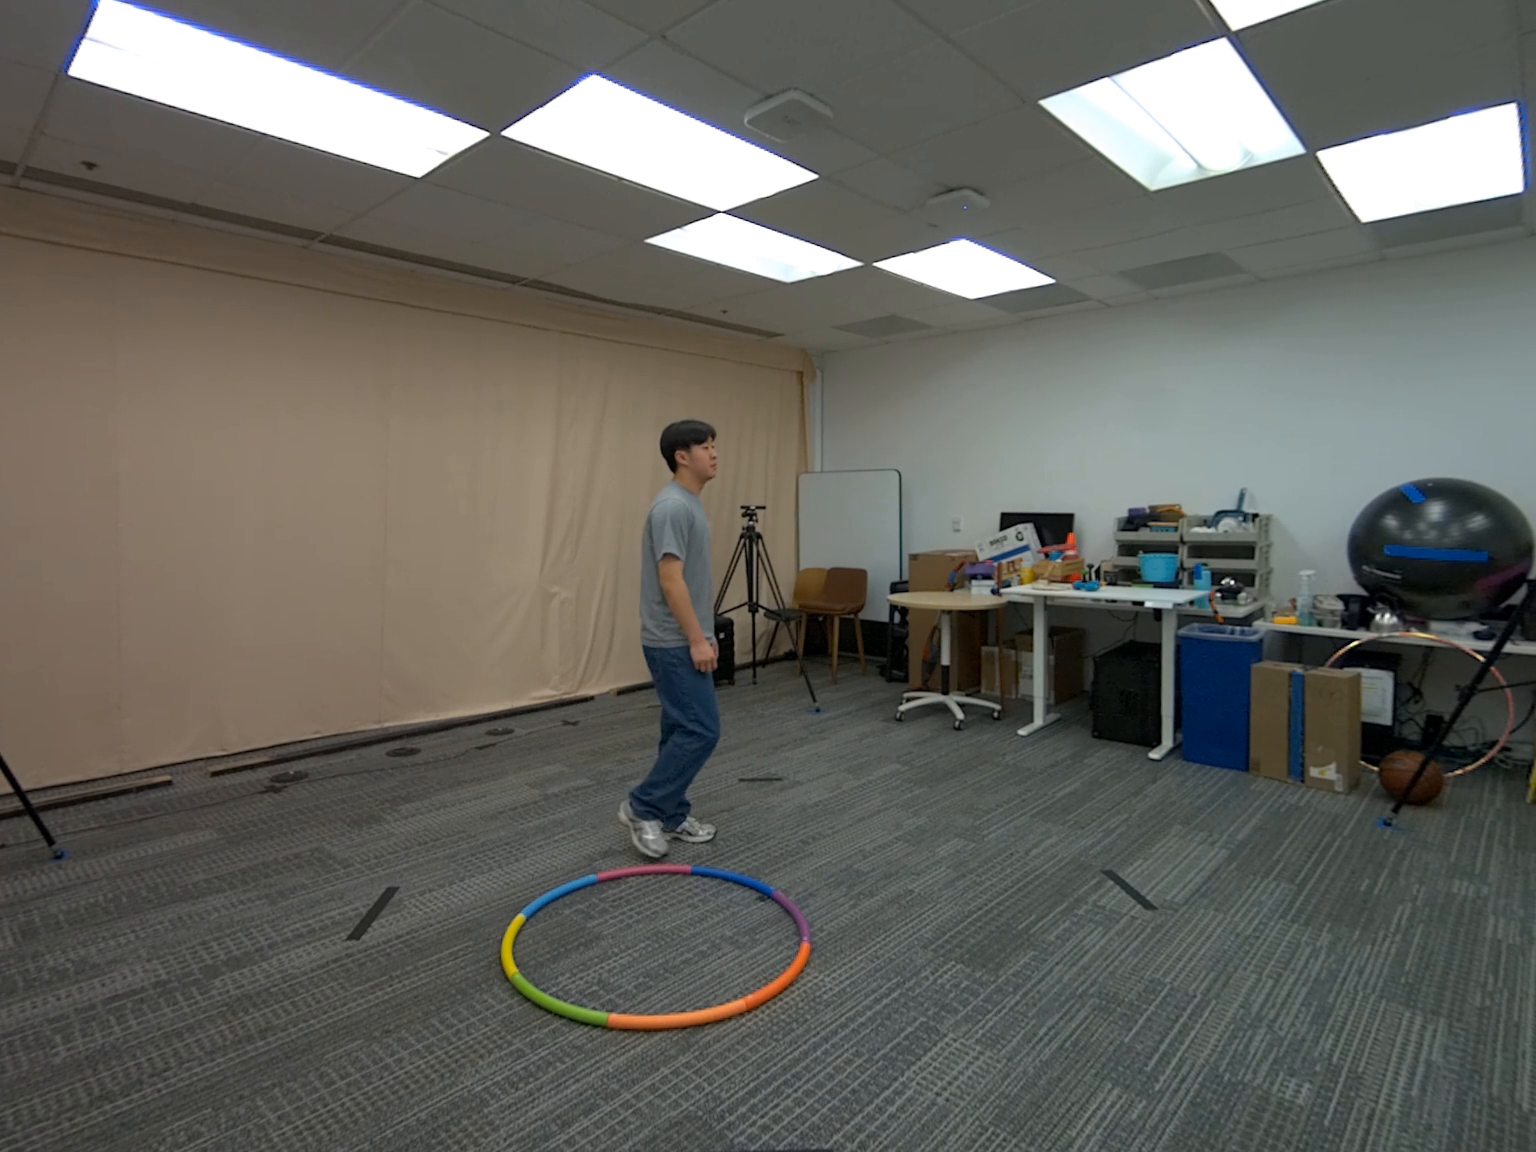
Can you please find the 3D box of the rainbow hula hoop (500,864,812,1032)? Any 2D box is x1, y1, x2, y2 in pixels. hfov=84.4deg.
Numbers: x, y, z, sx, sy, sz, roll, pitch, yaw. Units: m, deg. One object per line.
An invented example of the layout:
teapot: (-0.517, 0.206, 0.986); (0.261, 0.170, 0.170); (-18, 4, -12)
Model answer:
rainbow hula hoop: (-0.351, 1.138, 2.724); (0.978, 0.035, 0.982); (-1, 4, -2)
